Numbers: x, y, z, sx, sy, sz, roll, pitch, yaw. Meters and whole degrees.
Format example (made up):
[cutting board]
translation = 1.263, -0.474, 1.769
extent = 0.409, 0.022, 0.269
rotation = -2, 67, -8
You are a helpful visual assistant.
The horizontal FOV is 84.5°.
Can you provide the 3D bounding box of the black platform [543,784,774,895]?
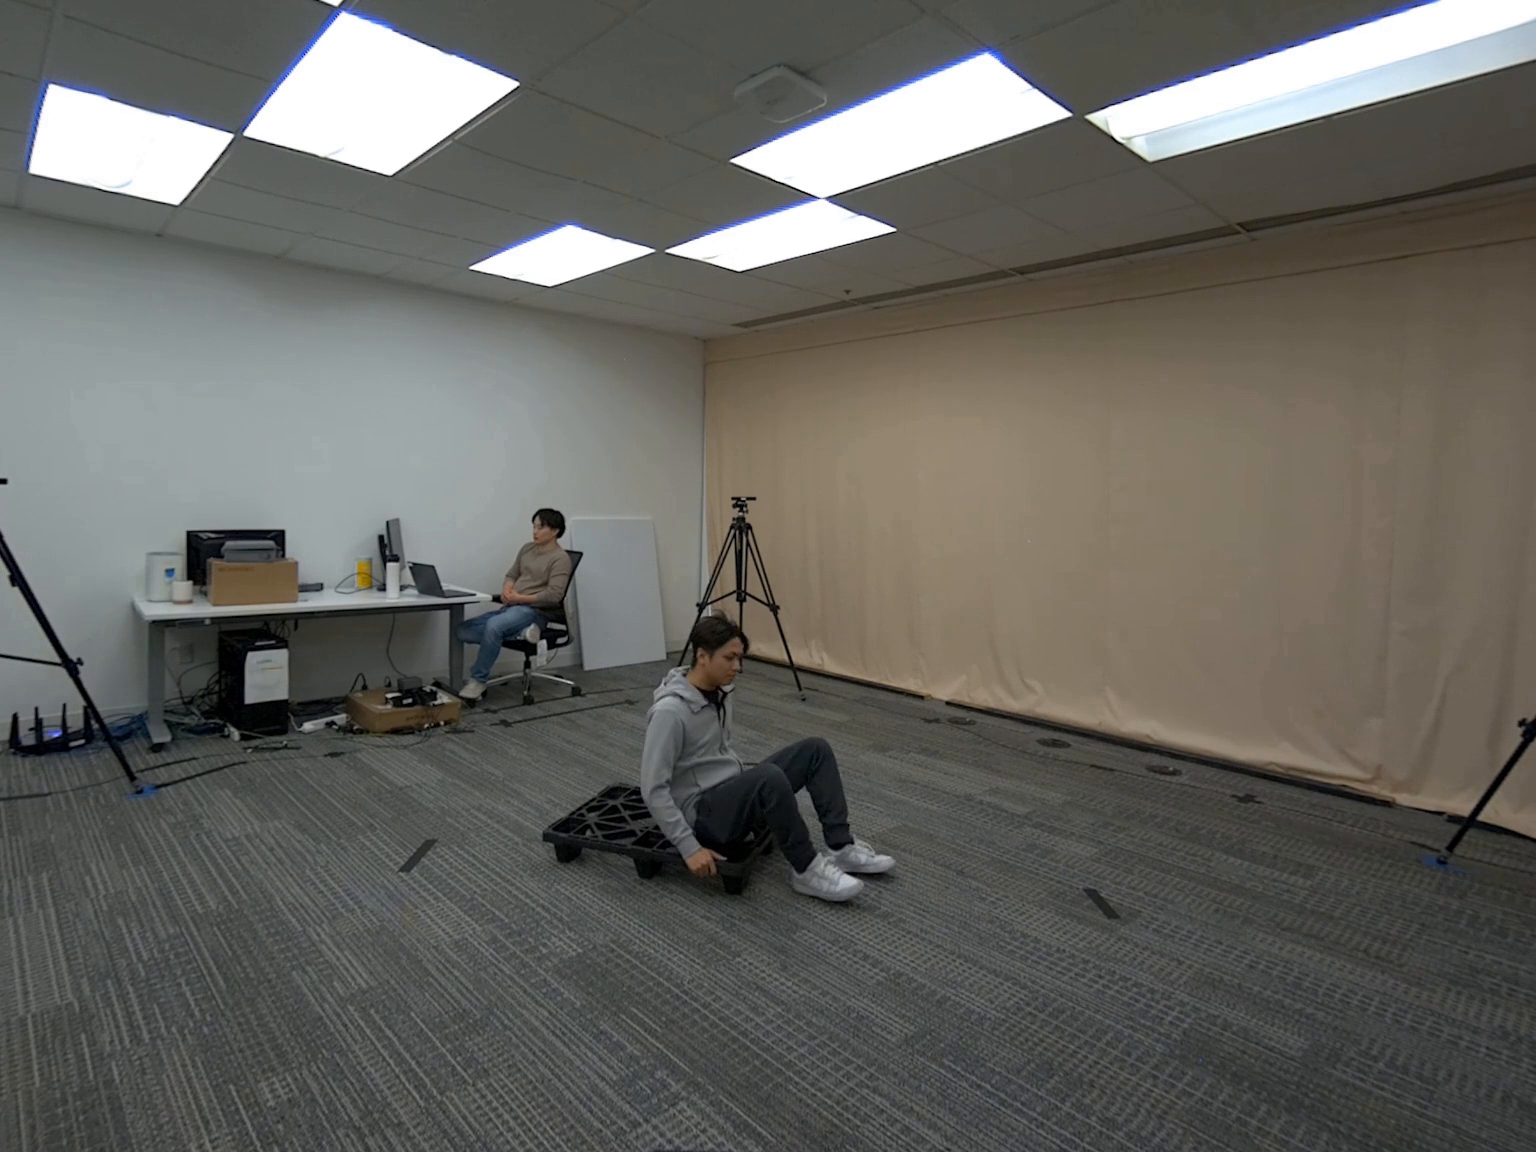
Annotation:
[black platform]
translation = -0.384, 1.012, 3.286
extent = 0.818, 0.143, 0.598
rotation = 3, 6, 18
